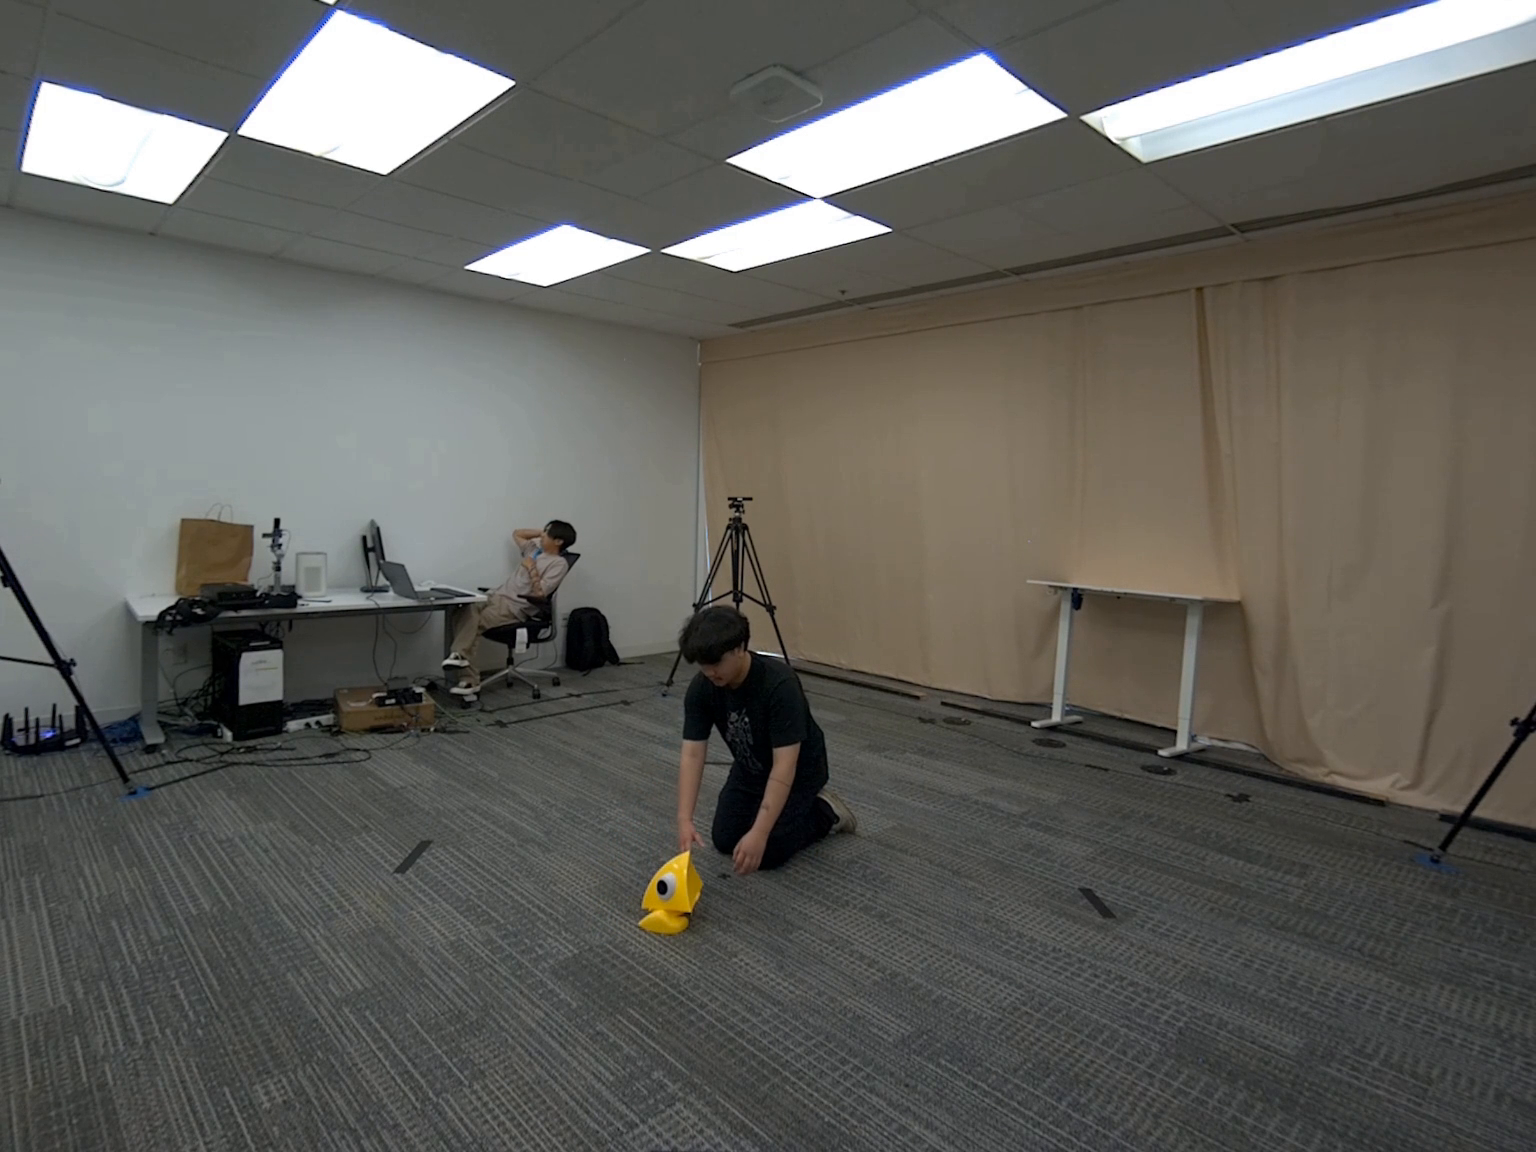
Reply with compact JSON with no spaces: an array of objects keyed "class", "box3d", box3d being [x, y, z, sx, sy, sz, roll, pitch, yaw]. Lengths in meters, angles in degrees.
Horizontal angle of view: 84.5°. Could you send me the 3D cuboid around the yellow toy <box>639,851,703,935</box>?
[{"class":"yellow toy","box3d":[-0.332,1.020,2.775,0.194,0.230,0.204,2,4,8]}]
